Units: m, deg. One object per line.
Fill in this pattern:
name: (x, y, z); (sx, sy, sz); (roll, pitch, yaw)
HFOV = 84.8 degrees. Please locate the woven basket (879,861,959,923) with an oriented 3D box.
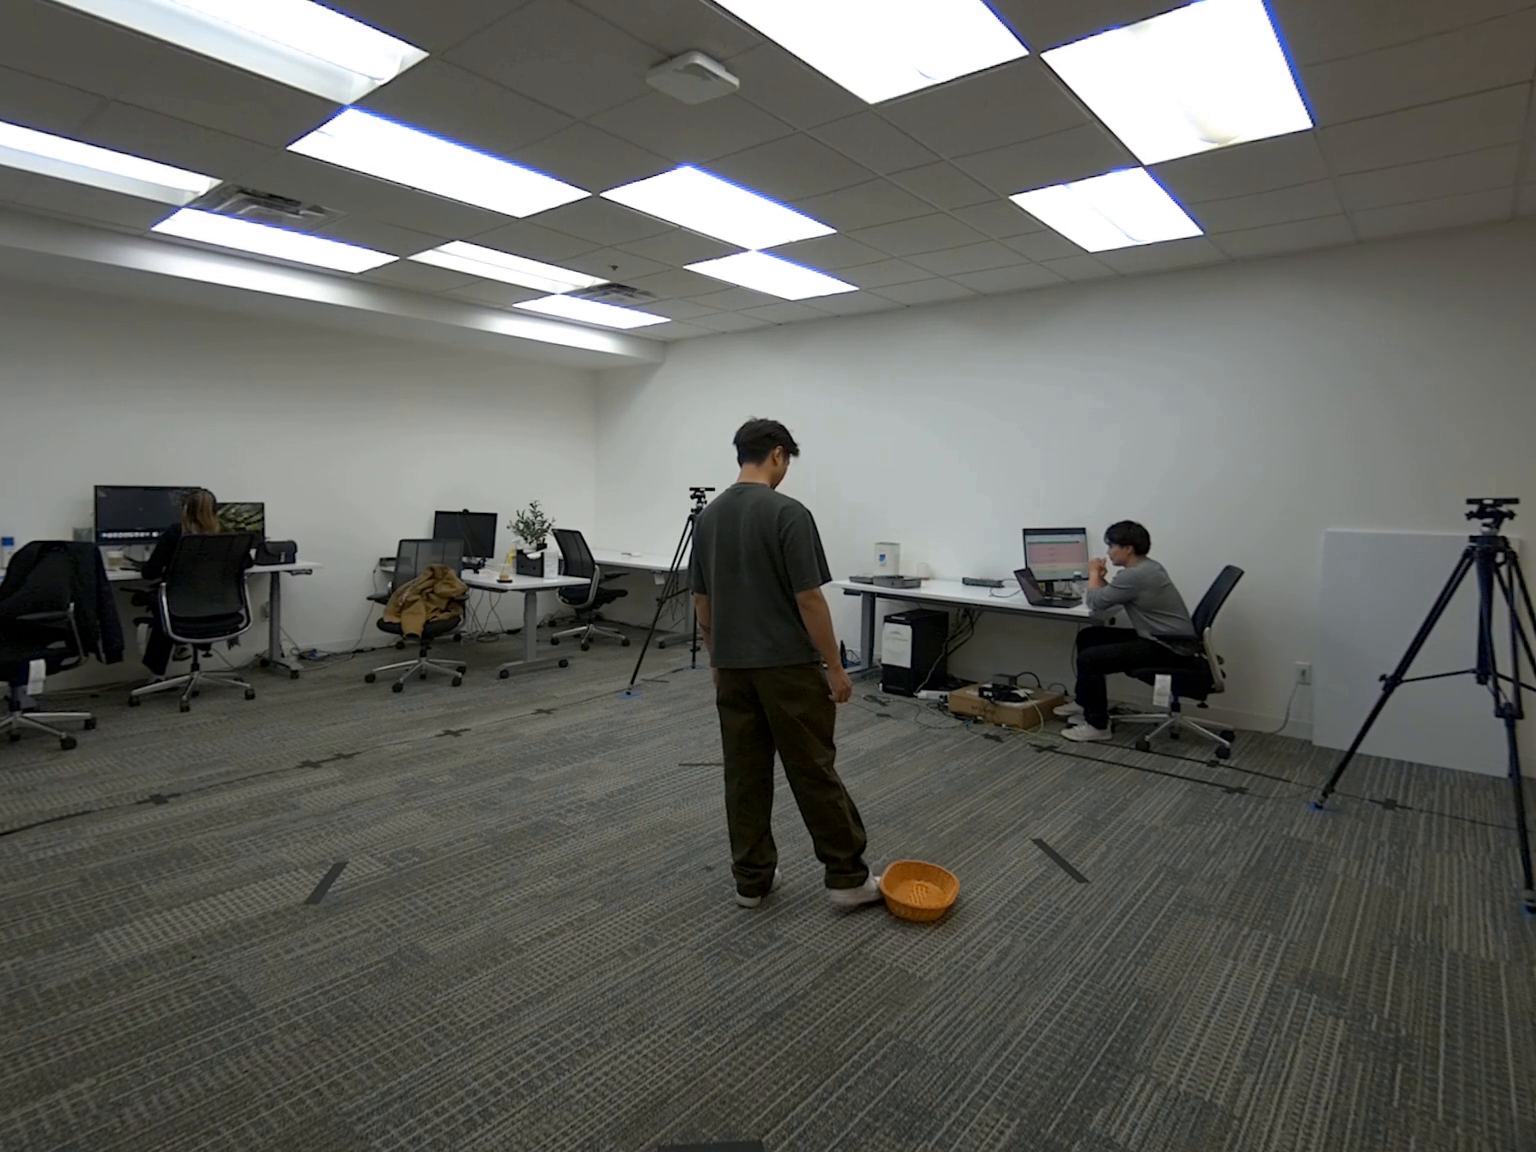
woven basket: (0.504, 1.068, 2.880); (0.260, 0.073, 0.342); (8, 7, 27)
